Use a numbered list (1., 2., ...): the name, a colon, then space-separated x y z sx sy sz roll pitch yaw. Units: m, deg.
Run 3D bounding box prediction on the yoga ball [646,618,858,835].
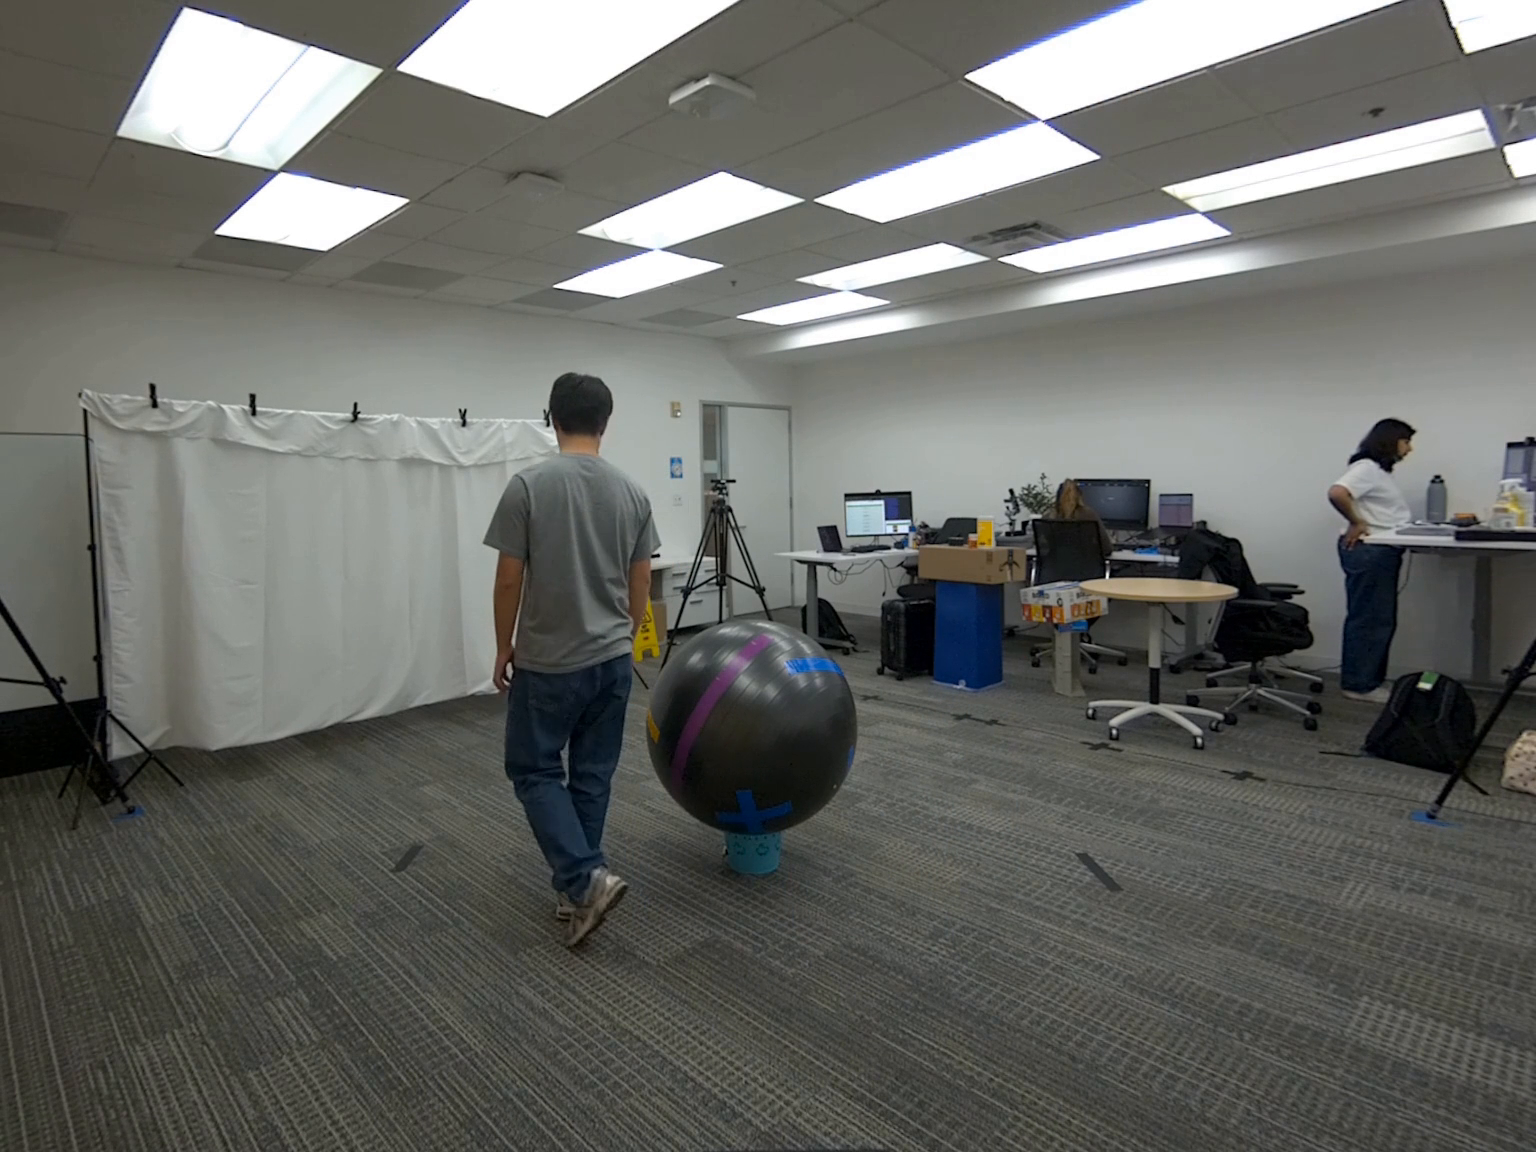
1. yoga ball: -0.057 0.536 3.086 0.757 0.755 0.762 -1 5 -2
